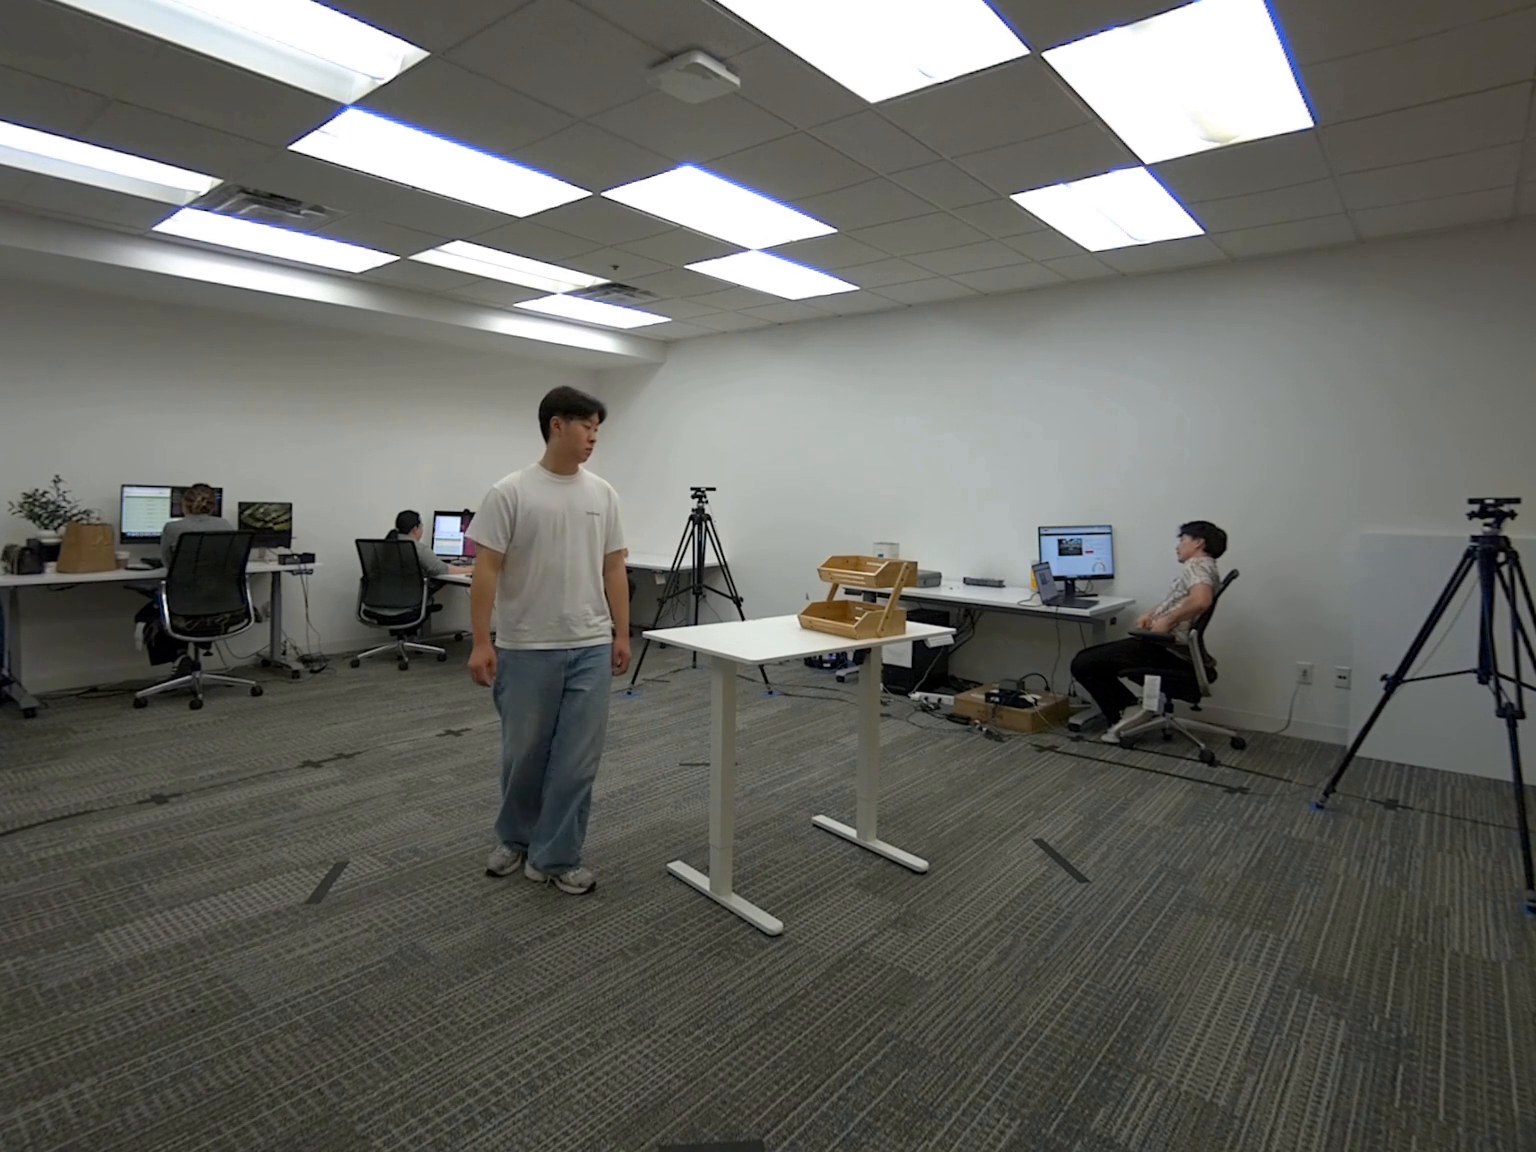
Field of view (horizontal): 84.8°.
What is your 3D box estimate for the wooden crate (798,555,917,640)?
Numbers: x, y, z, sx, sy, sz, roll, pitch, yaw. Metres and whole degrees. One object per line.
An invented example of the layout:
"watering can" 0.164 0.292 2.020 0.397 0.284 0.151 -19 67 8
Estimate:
"wooden crate" 0.312 0.064 3.072 0.293 0.272 0.335 -2 5 -37
